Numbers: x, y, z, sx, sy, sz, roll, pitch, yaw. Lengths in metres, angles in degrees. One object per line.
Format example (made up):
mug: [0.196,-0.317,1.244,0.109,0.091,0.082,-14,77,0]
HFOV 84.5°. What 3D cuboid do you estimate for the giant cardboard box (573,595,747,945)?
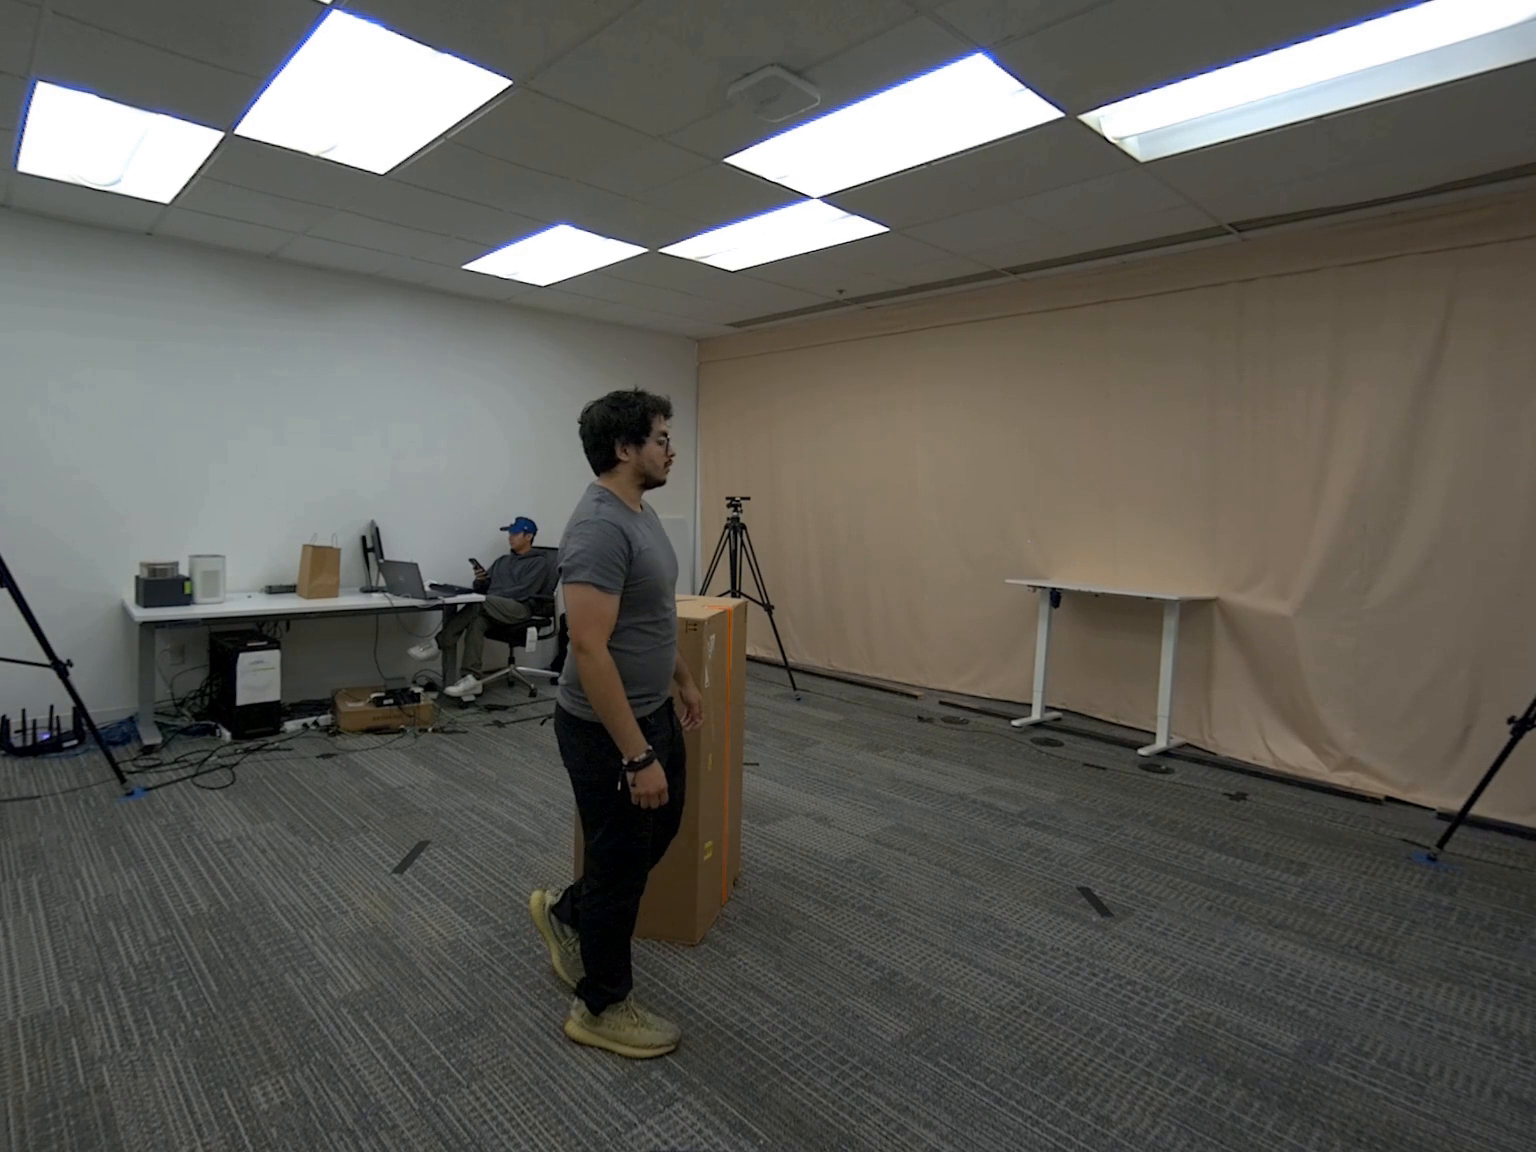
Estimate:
giant cardboard box: [-0.348,0.610,2.910,0.431,1.024,0.572,2,3,13]
